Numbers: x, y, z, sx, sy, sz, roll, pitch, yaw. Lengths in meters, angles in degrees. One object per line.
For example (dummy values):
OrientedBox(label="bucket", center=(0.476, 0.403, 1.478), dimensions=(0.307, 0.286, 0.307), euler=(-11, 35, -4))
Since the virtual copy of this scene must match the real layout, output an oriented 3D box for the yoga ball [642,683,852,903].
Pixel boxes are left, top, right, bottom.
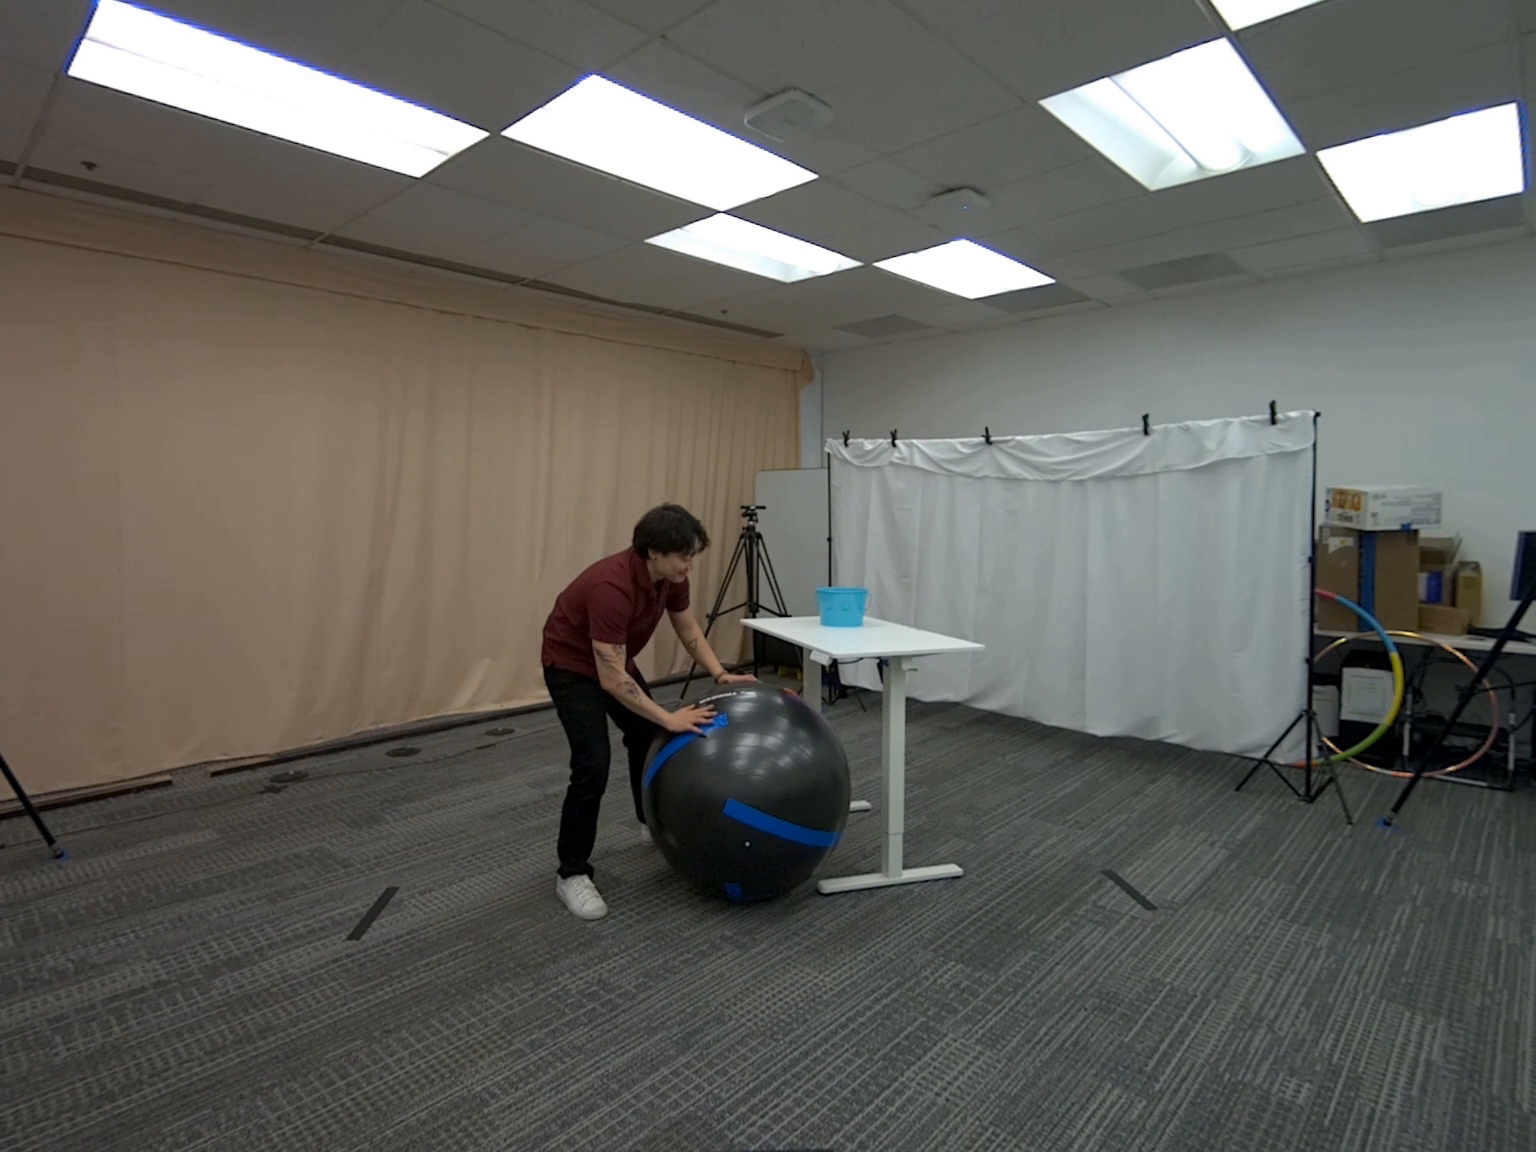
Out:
OrientedBox(label="yoga ball", center=(-0.084, 0.772, 3.065), dimensions=(0.757, 0.756, 0.760), euler=(0, 4, -2))
